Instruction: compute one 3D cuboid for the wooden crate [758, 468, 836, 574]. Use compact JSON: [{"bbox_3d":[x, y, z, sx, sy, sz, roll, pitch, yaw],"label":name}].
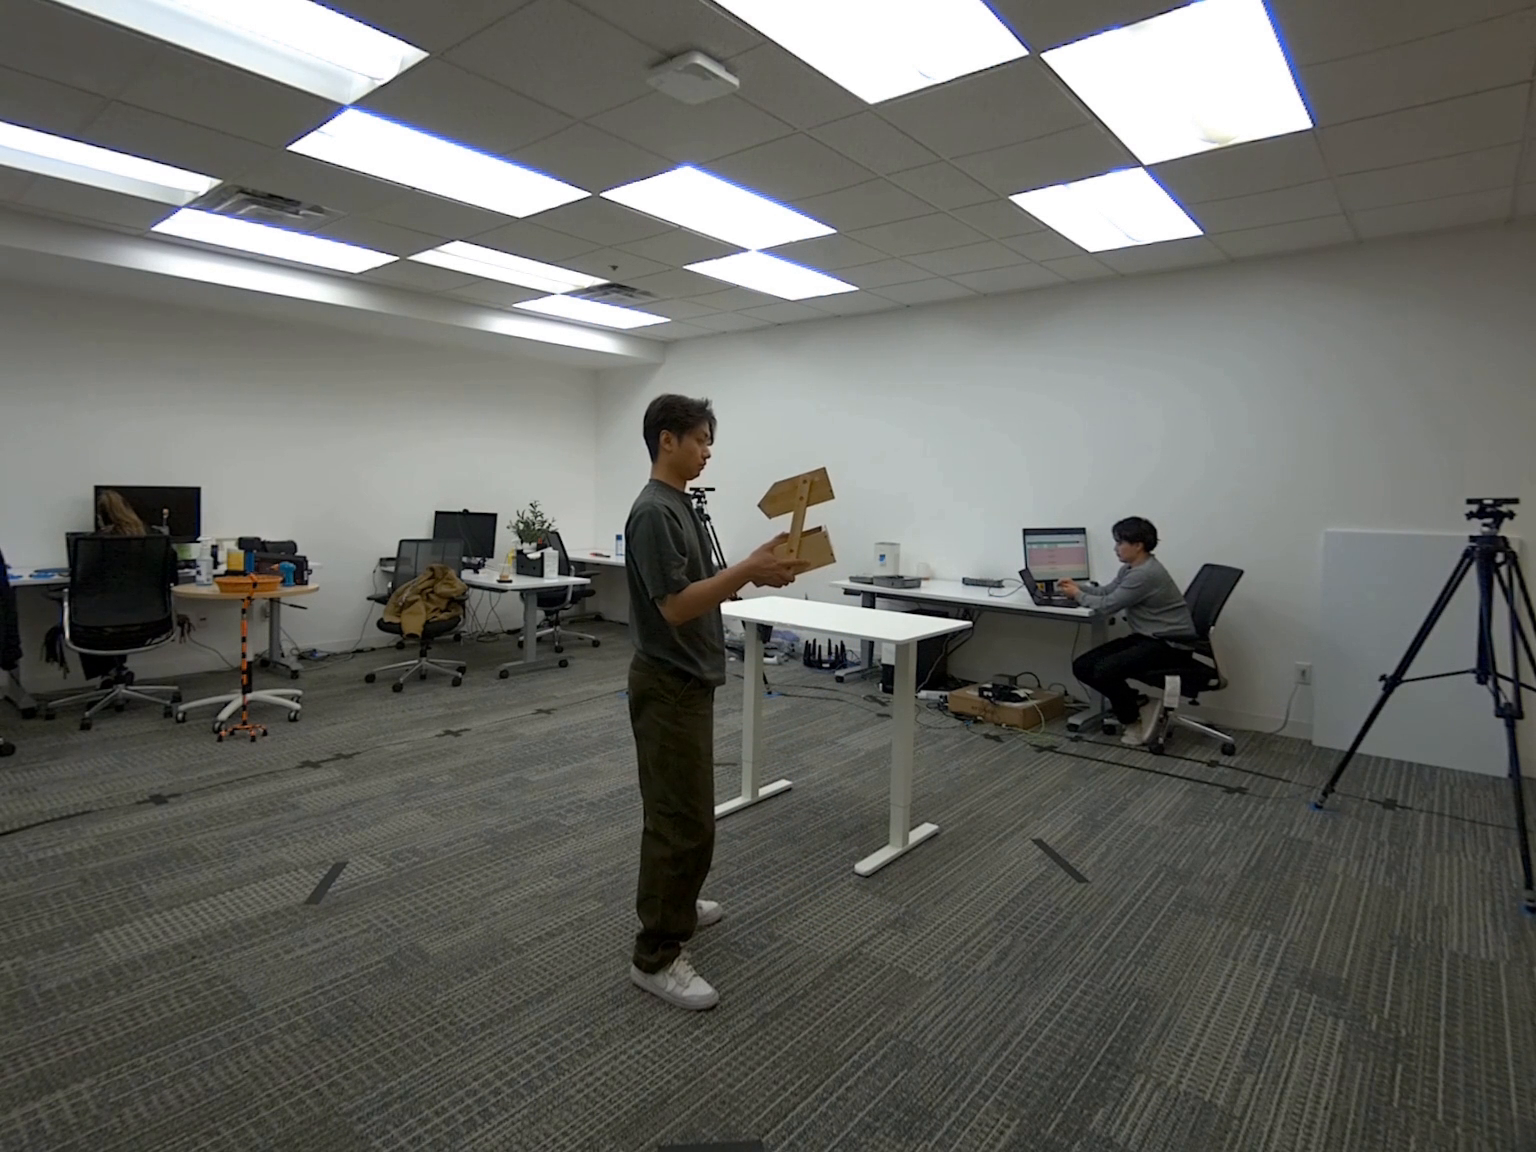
[{"bbox_3d":[0.049,-0.151,2.469,0.303,0.272,0.325,-17,5,5],"label":"wooden crate"}]
